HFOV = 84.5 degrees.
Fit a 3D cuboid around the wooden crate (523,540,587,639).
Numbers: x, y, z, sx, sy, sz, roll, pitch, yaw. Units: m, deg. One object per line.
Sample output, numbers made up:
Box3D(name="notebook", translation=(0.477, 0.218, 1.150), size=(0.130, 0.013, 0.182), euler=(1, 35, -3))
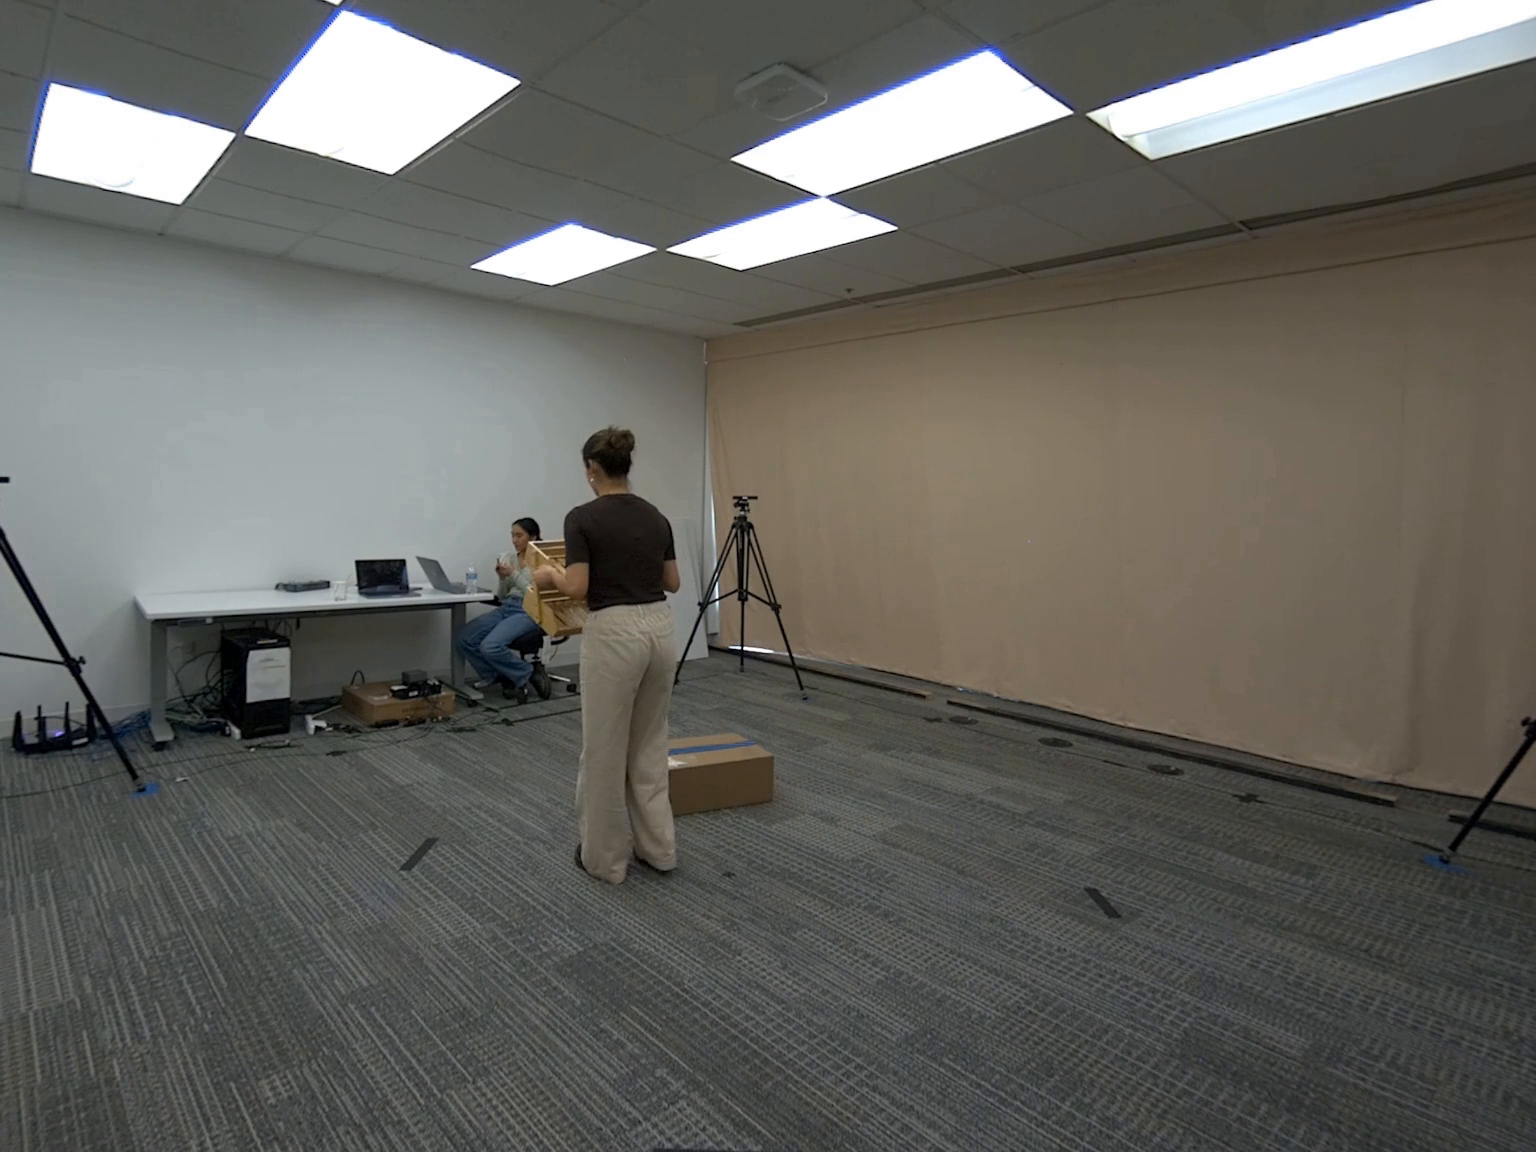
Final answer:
Box3D(name="wooden crate", translation=(-0.738, 0.046, 3.237), size=(0.317, 0.271, 0.311), euler=(-6, 29, -45))
